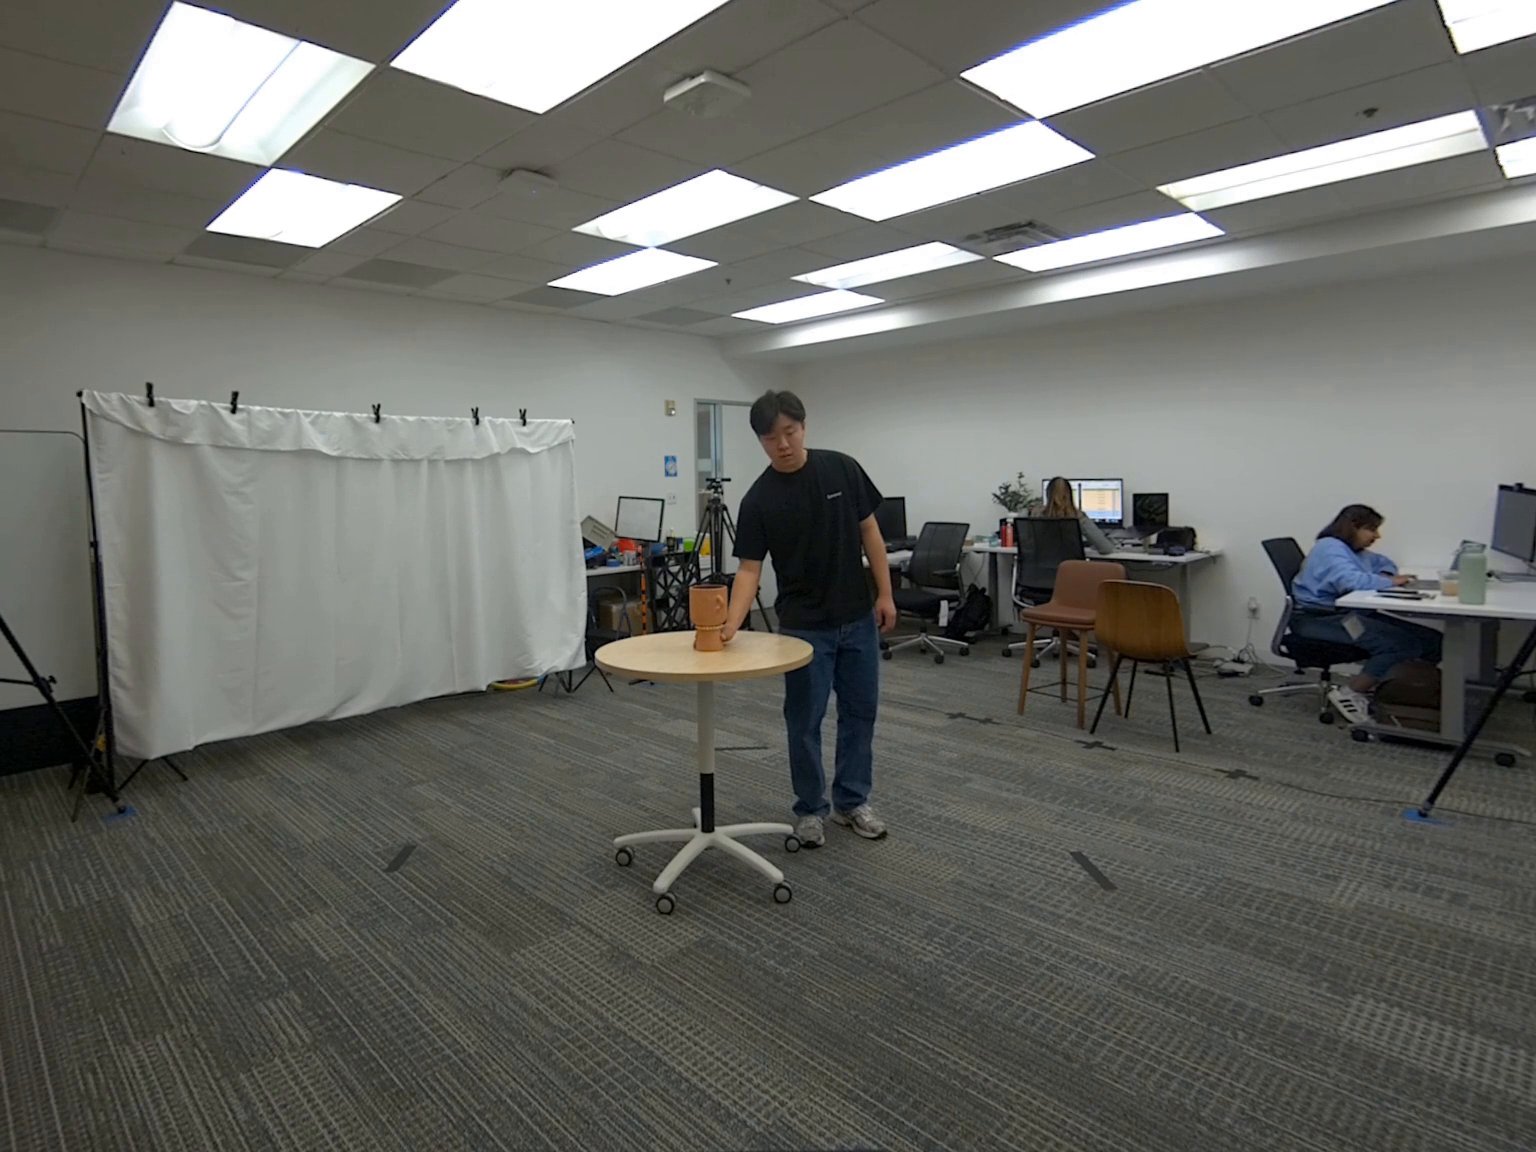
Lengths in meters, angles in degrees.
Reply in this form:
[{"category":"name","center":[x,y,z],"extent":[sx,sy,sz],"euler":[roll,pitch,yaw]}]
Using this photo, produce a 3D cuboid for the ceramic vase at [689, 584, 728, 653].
[{"category":"ceramic vase","center":[-0.202,0.152,3.009],"extent":[0.136,0.219,0.158],"euler":[0,5,8]}]
